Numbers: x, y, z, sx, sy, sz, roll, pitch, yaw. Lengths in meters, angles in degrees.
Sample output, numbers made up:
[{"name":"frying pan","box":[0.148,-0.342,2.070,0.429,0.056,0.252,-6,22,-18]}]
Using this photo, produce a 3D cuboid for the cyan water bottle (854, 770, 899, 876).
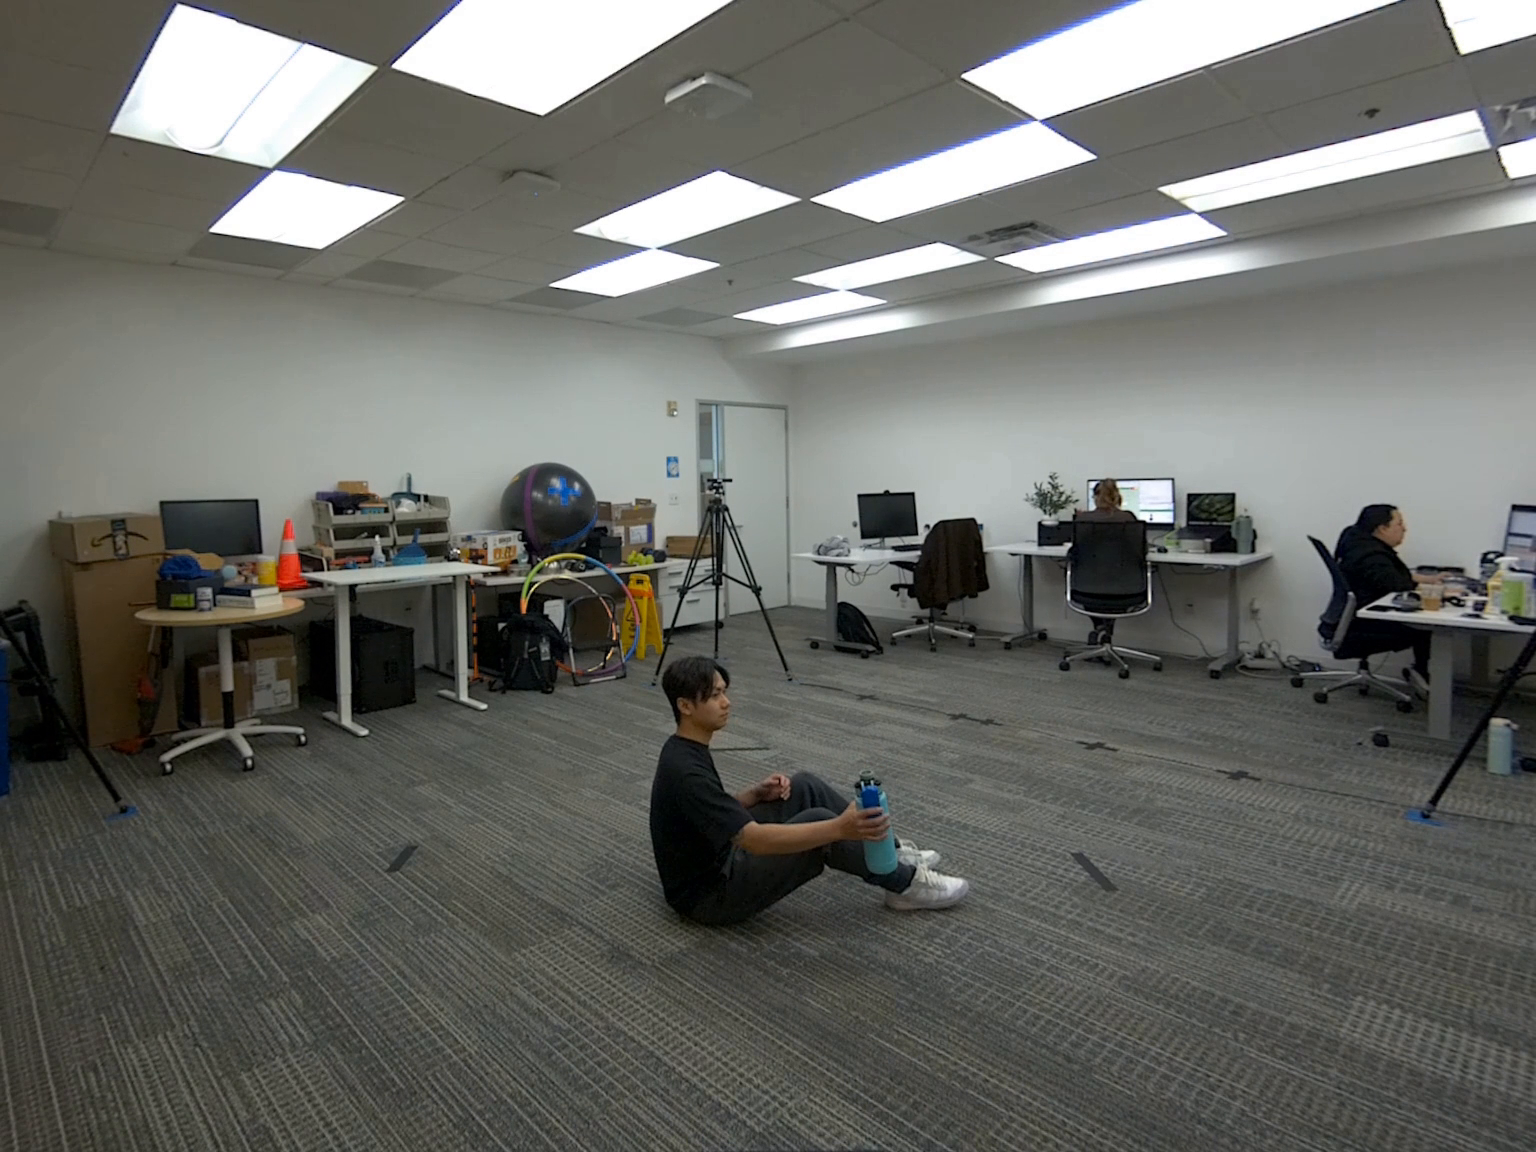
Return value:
[{"name":"cyan water bottle","box":[0.306,0.704,2.441,0.092,0.281,0.093,-9,9,0]}]
